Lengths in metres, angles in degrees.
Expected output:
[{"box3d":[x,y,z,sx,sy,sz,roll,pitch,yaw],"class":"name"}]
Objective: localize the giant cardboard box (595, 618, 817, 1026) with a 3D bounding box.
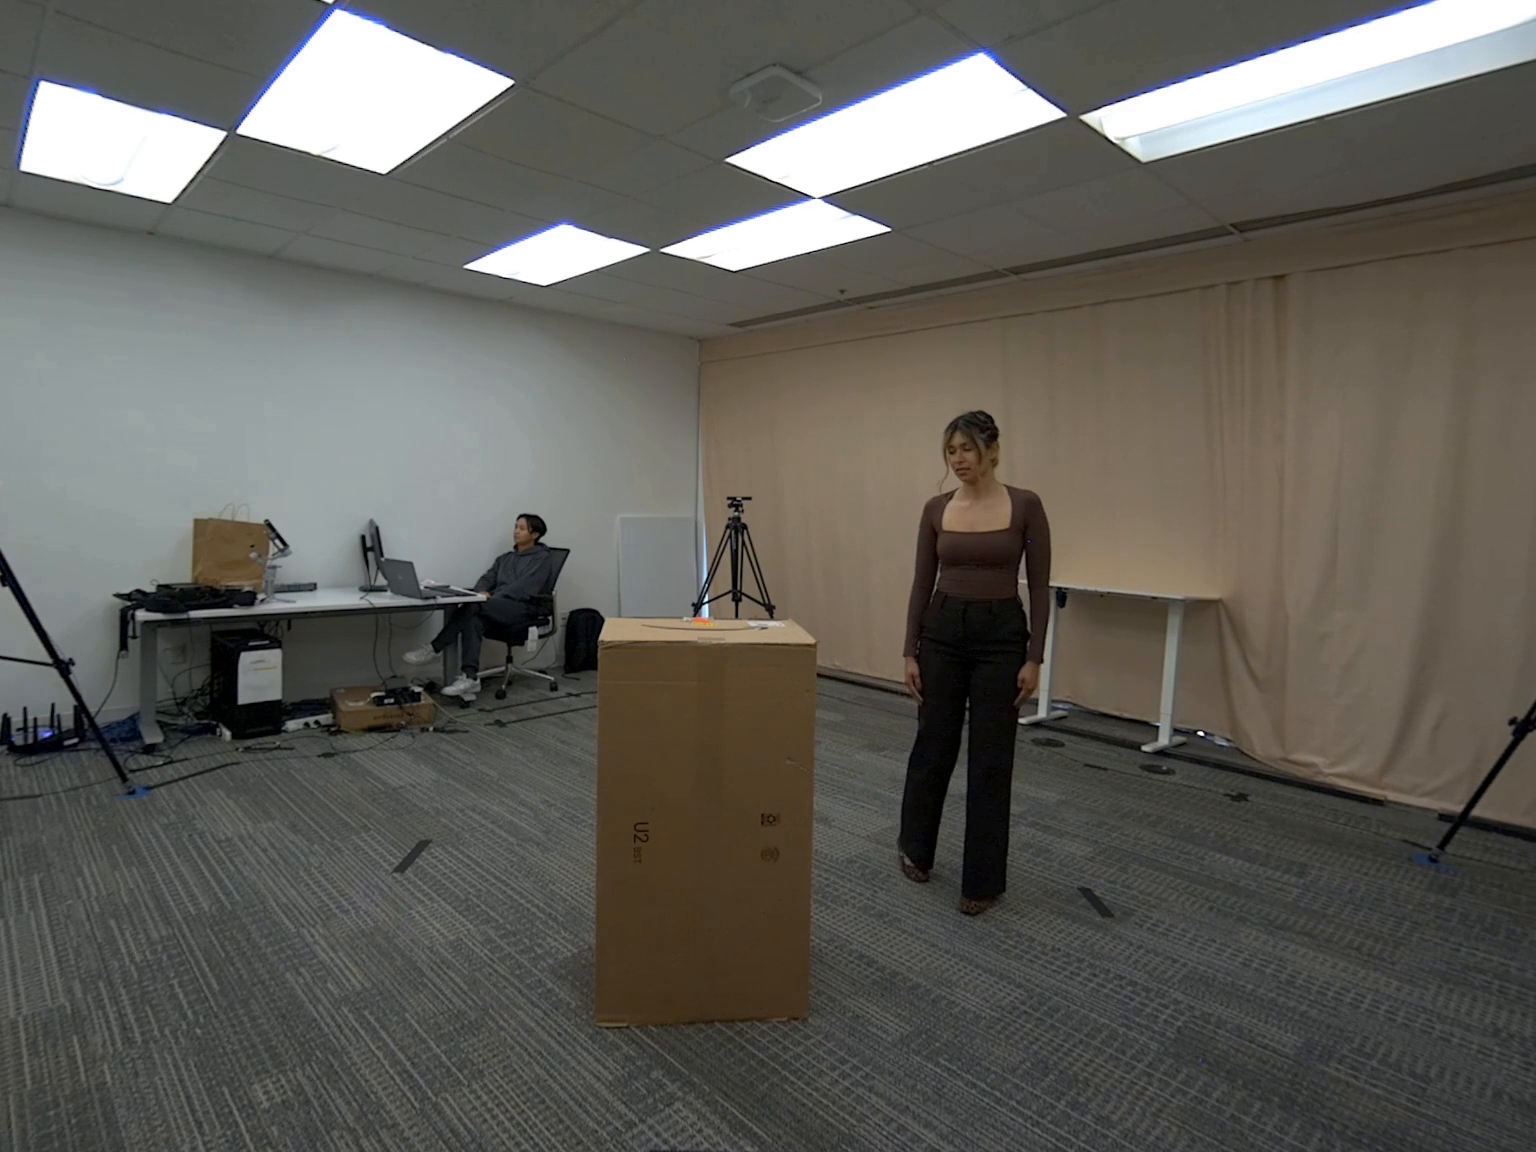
[{"box3d":[-0.201,0.660,2.406,0.580,1.024,0.451,1,4,-8],"class":"giant cardboard box"}]
